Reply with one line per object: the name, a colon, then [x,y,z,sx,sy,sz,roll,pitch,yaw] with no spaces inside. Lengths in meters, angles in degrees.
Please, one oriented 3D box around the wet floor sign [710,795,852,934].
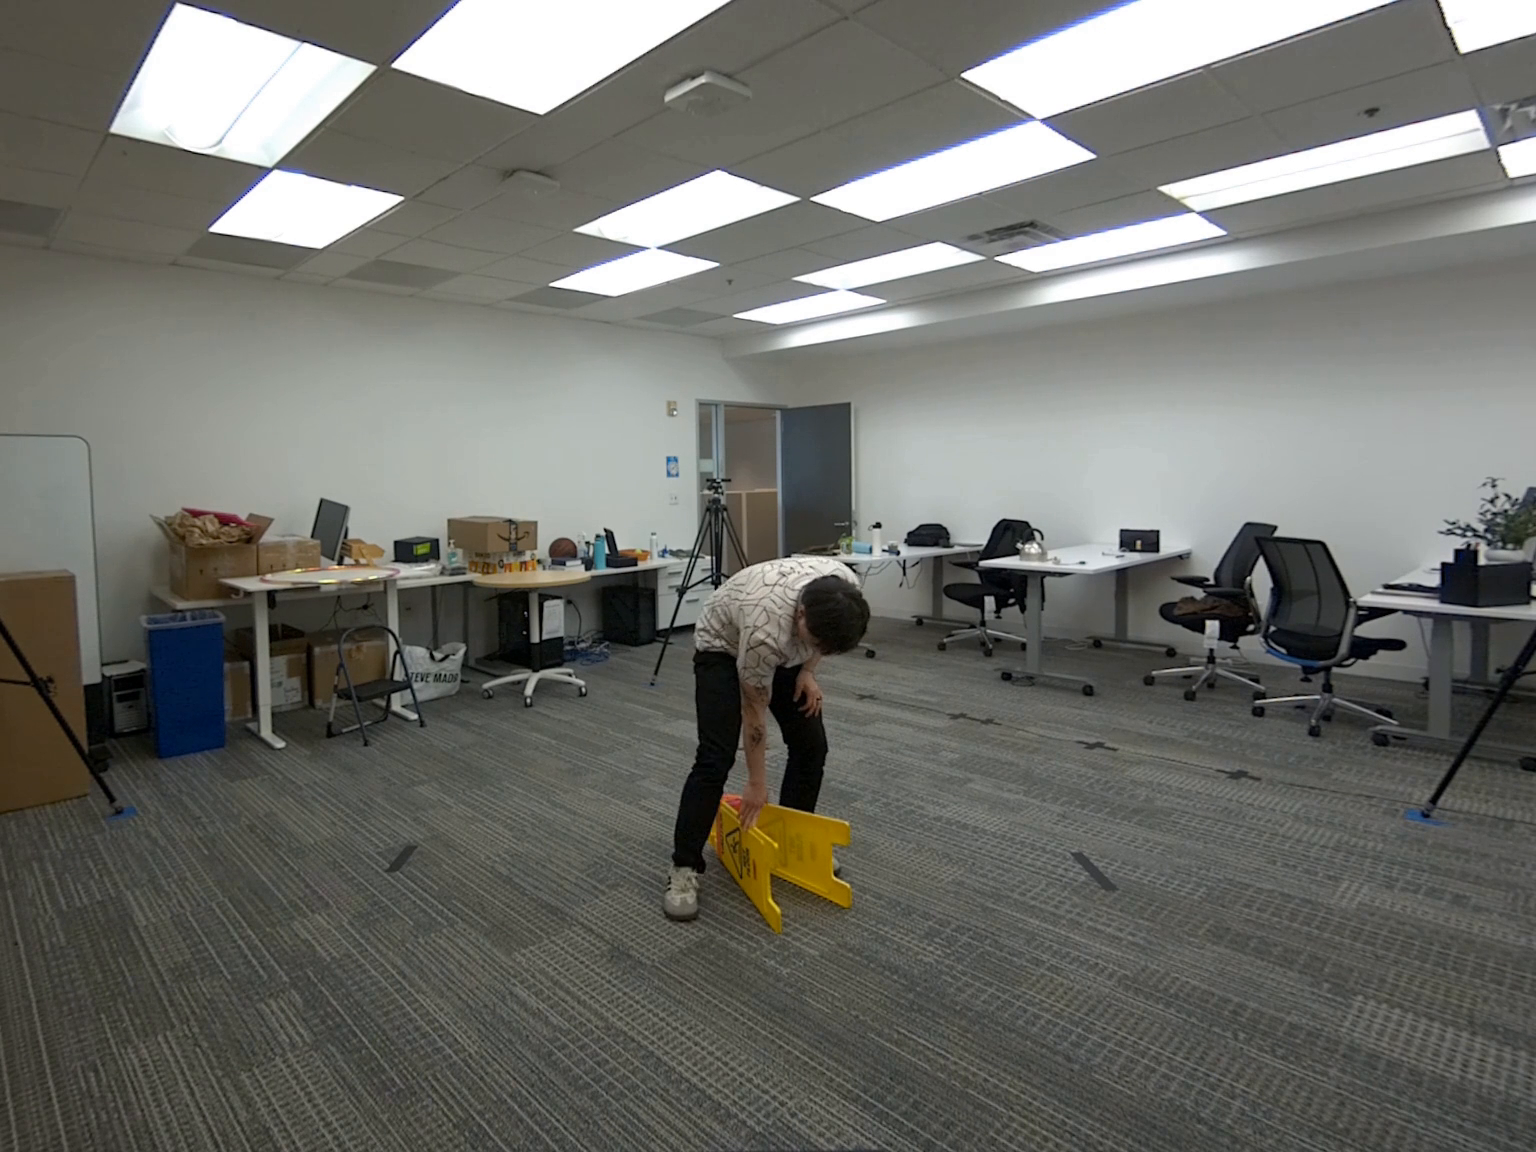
wet floor sign: [-0.035,0.930,2.957,0.282,0.281,0.664,-4,5,-34]
